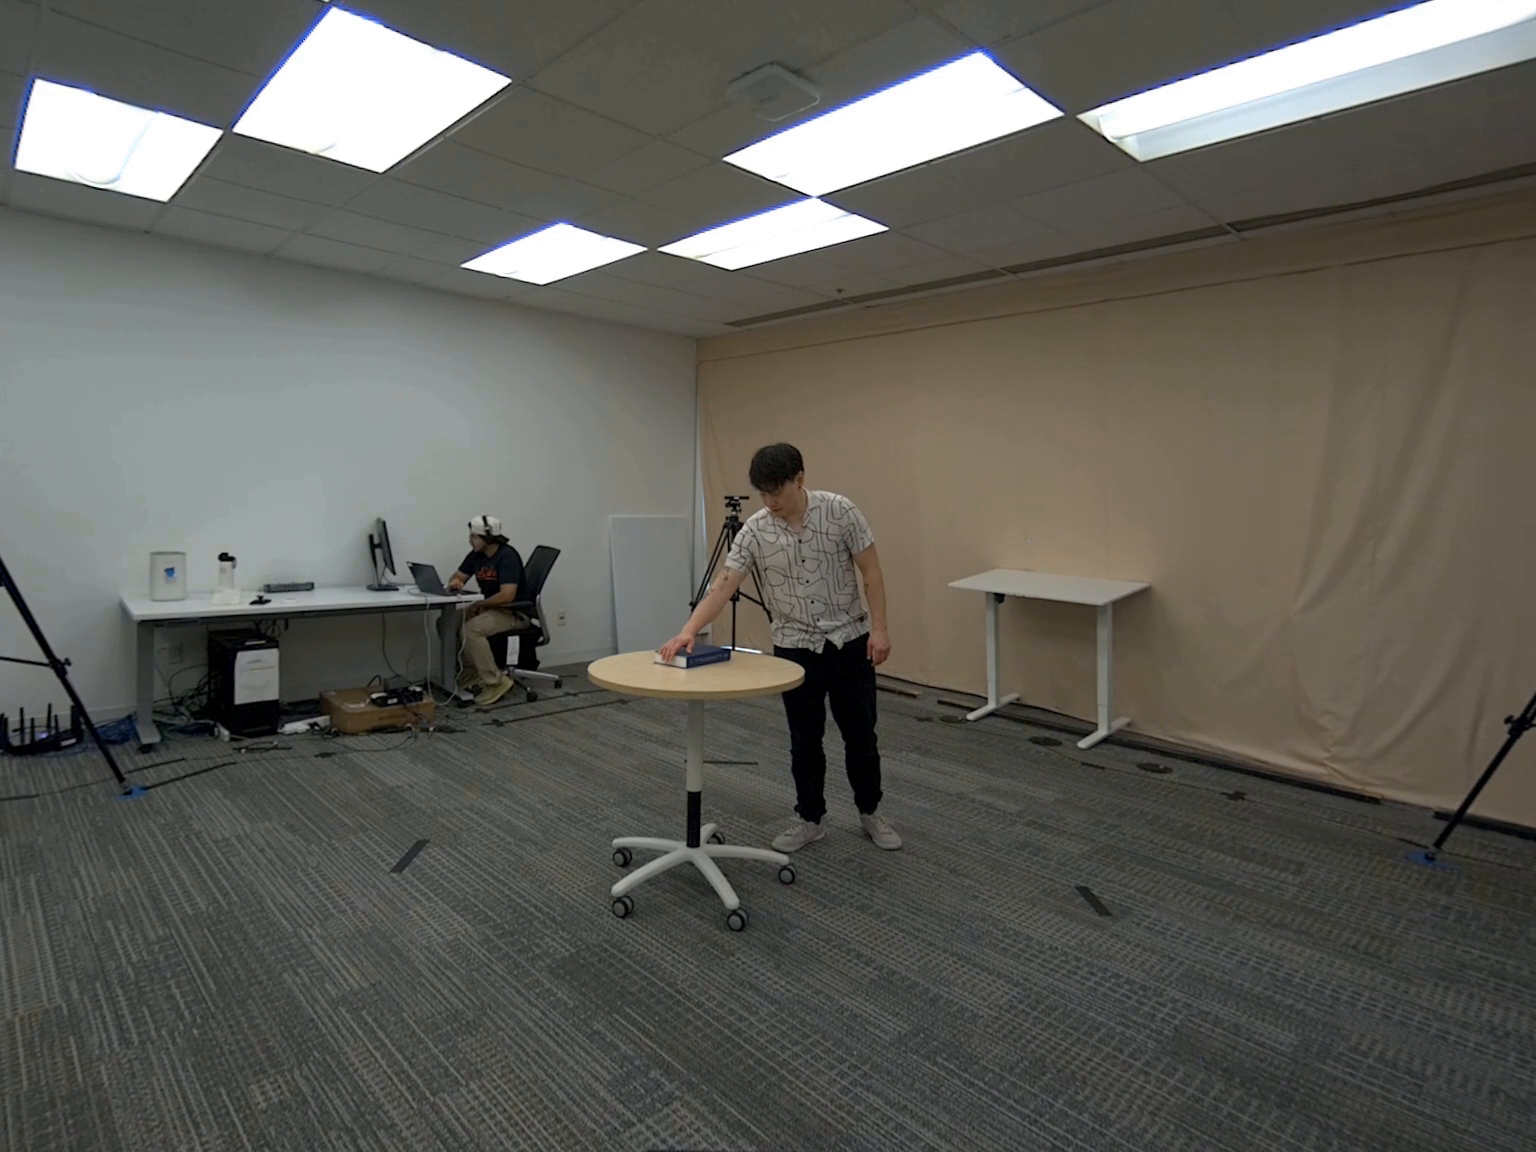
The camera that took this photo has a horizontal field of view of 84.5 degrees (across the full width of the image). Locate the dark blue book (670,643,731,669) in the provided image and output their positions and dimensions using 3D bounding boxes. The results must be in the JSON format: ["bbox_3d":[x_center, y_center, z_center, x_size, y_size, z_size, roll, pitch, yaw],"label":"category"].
[{"bbox_3d":[-0.283,0.297,3.106,0.167,0.045,0.240,4,6,37],"label":"dark blue book"}]
